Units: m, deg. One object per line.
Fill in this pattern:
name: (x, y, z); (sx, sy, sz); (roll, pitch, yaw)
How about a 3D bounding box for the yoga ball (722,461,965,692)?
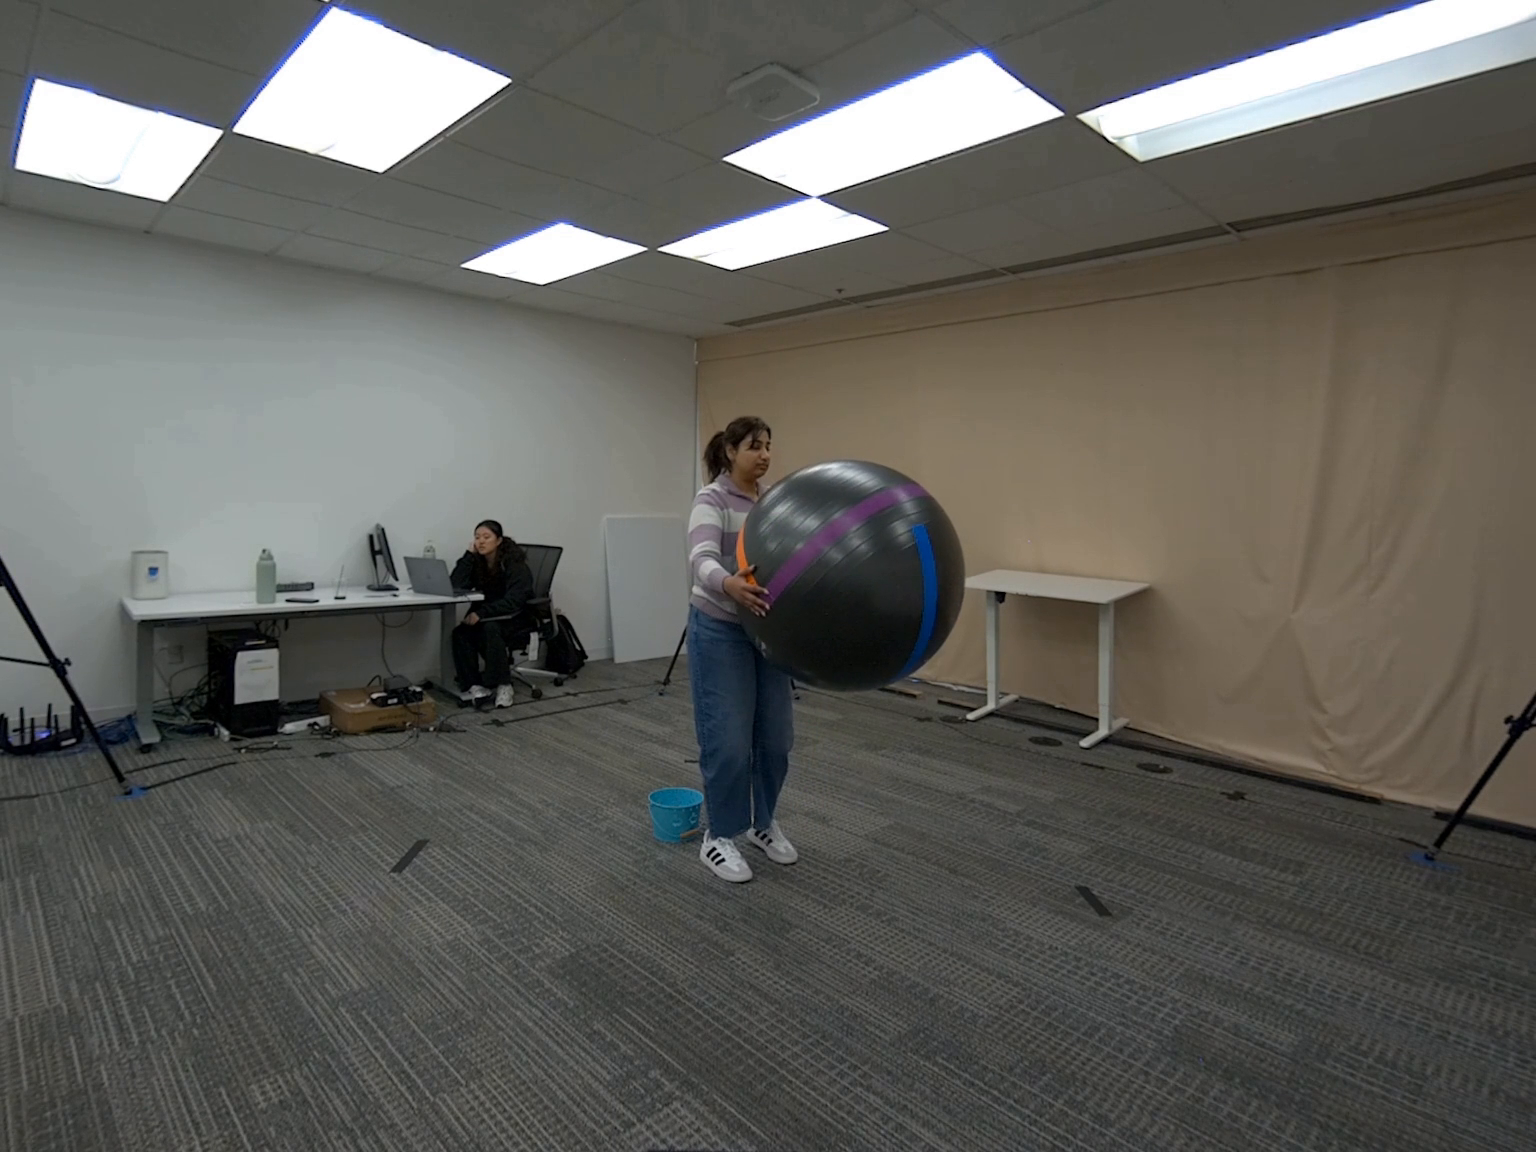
yoga ball: (0.261, 0.003, 2.761); (0.757, 0.756, 0.761); (1, 4, -1)
